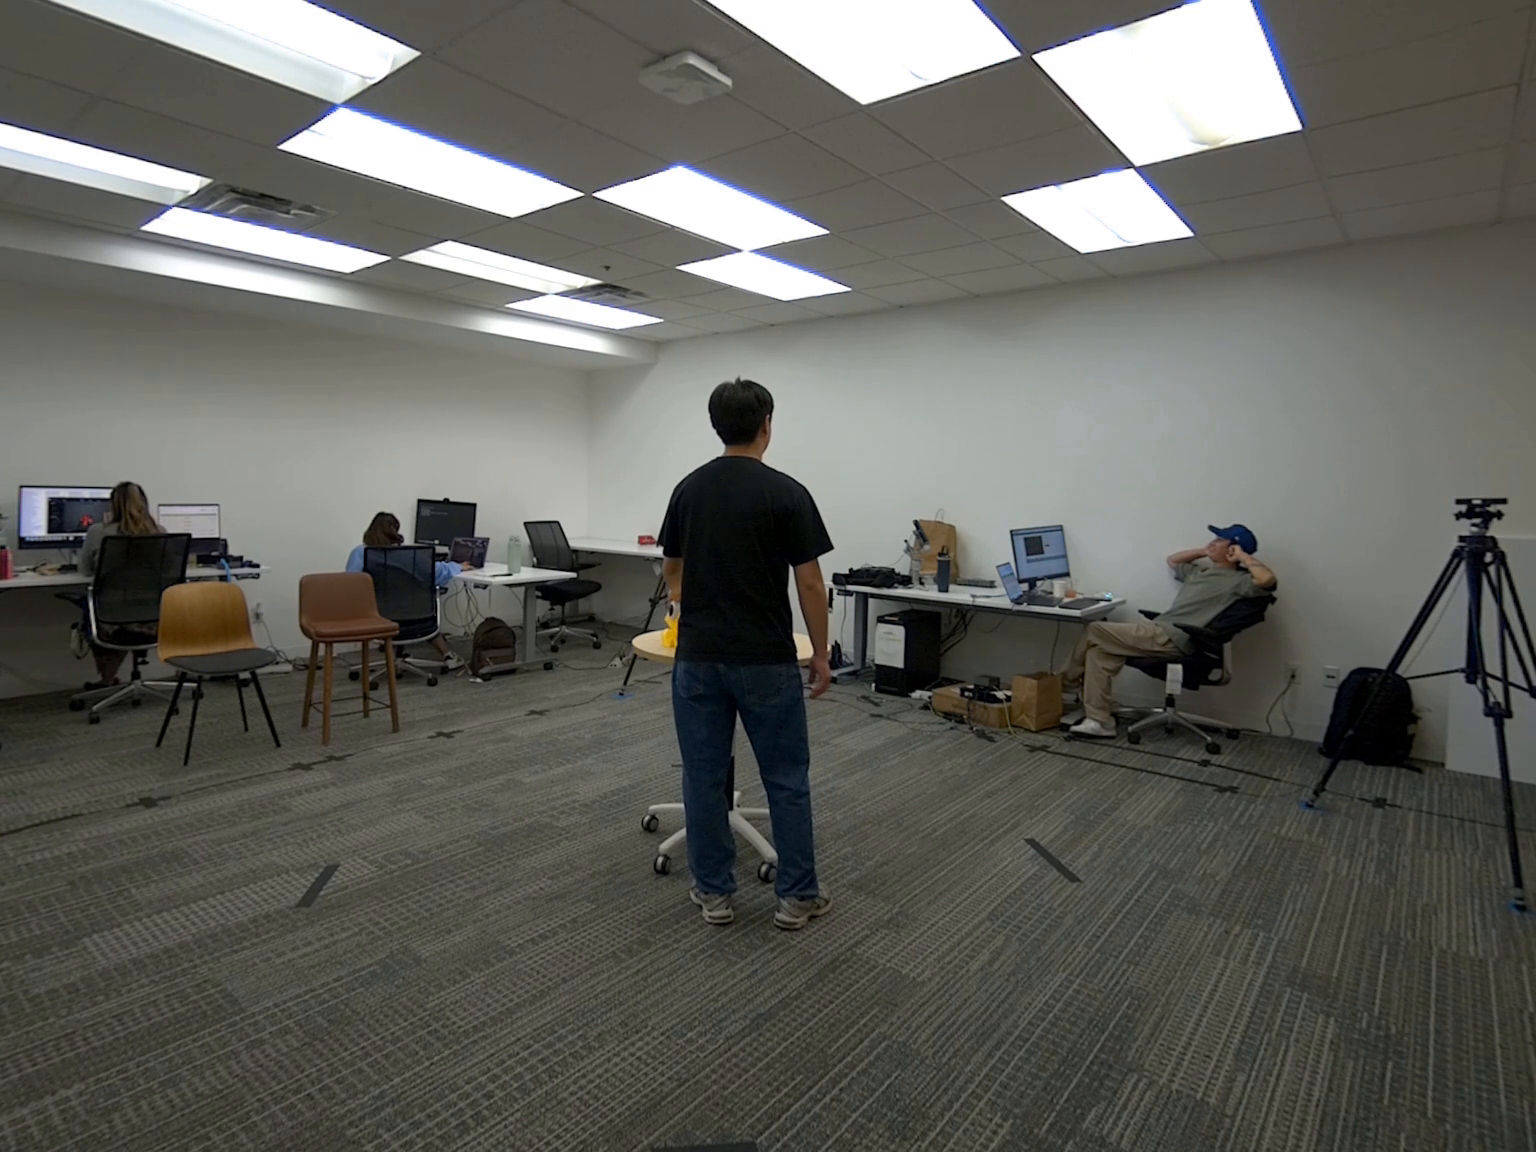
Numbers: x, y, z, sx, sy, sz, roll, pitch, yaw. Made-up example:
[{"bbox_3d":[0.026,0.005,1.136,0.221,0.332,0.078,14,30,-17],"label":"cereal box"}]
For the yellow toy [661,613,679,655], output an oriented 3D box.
[{"bbox_3d":[-0.311,0.145,3.240,0.205,0.230,0.193,1,4,2],"label":"yellow toy"}]
